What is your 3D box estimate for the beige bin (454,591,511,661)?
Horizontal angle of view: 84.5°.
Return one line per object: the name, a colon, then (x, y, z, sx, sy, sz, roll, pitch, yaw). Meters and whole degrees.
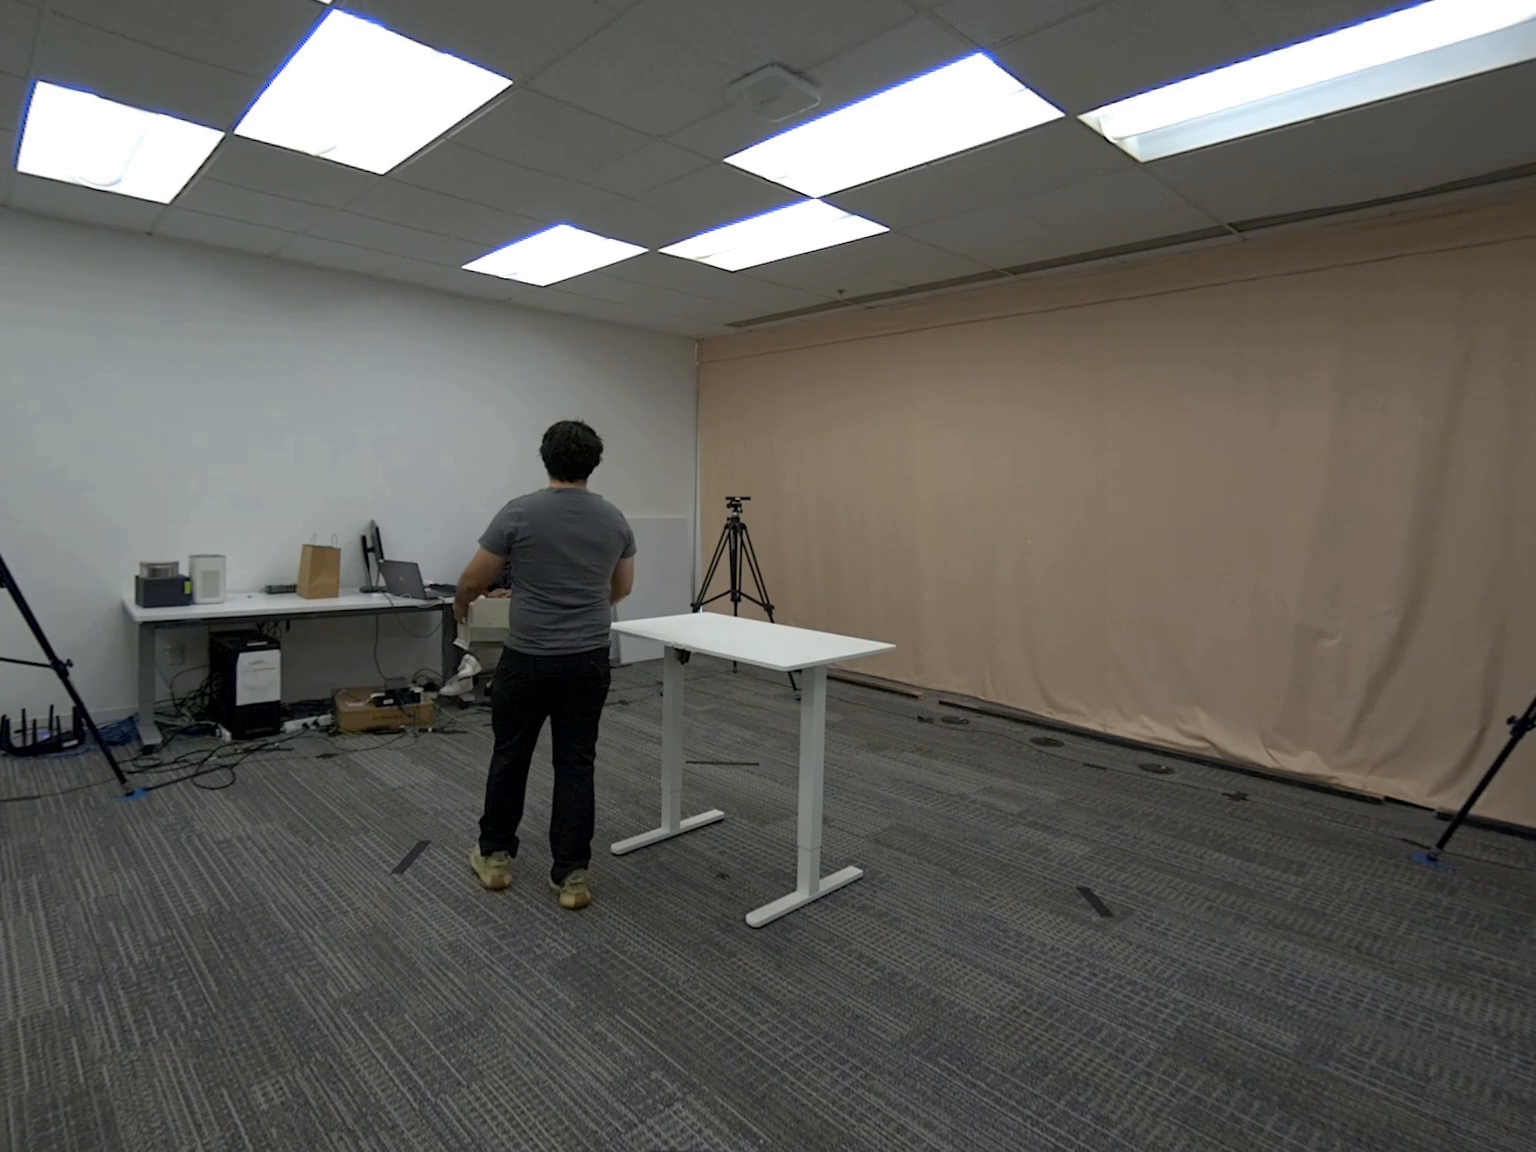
beige bin: (-0.981, 0.183, 3.285, 0.414, 0.189, 0.384, 0, -2, -27)
